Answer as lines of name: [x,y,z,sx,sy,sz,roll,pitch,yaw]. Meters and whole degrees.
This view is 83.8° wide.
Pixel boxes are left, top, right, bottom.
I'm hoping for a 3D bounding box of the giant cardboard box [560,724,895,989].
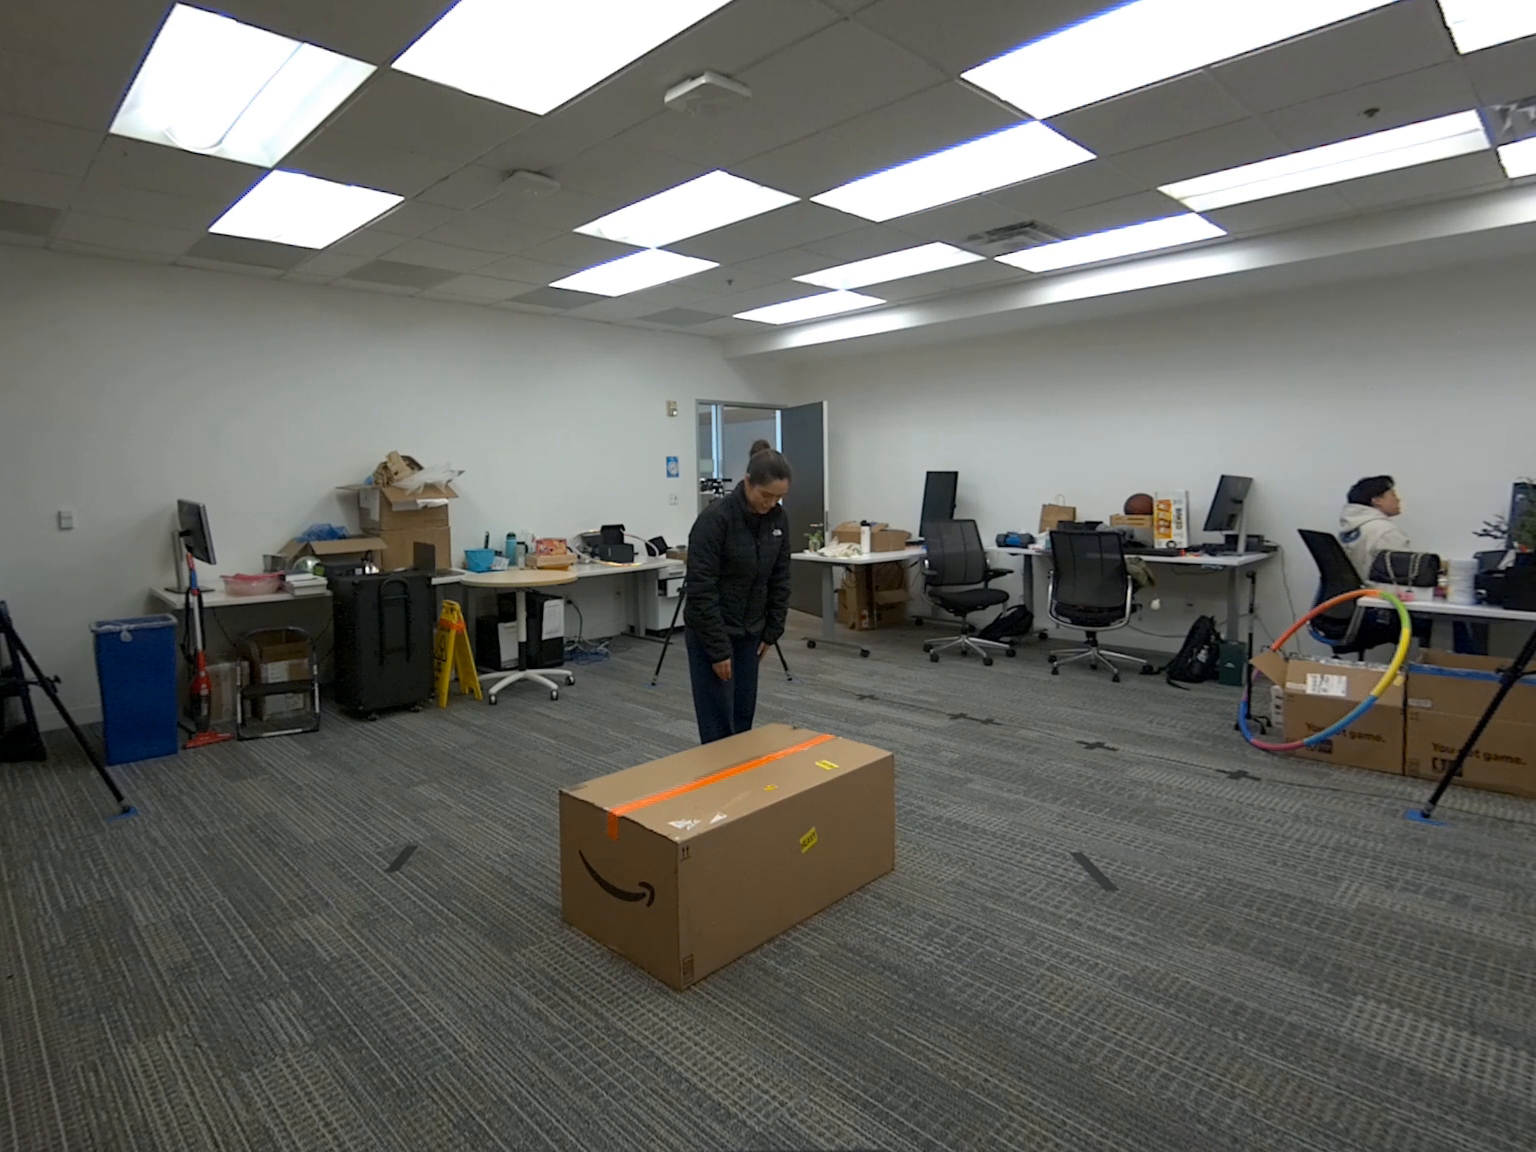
giant cardboard box: [-0.106,0.862,2.886,0.601,0.445,1.001,3,8,44]
